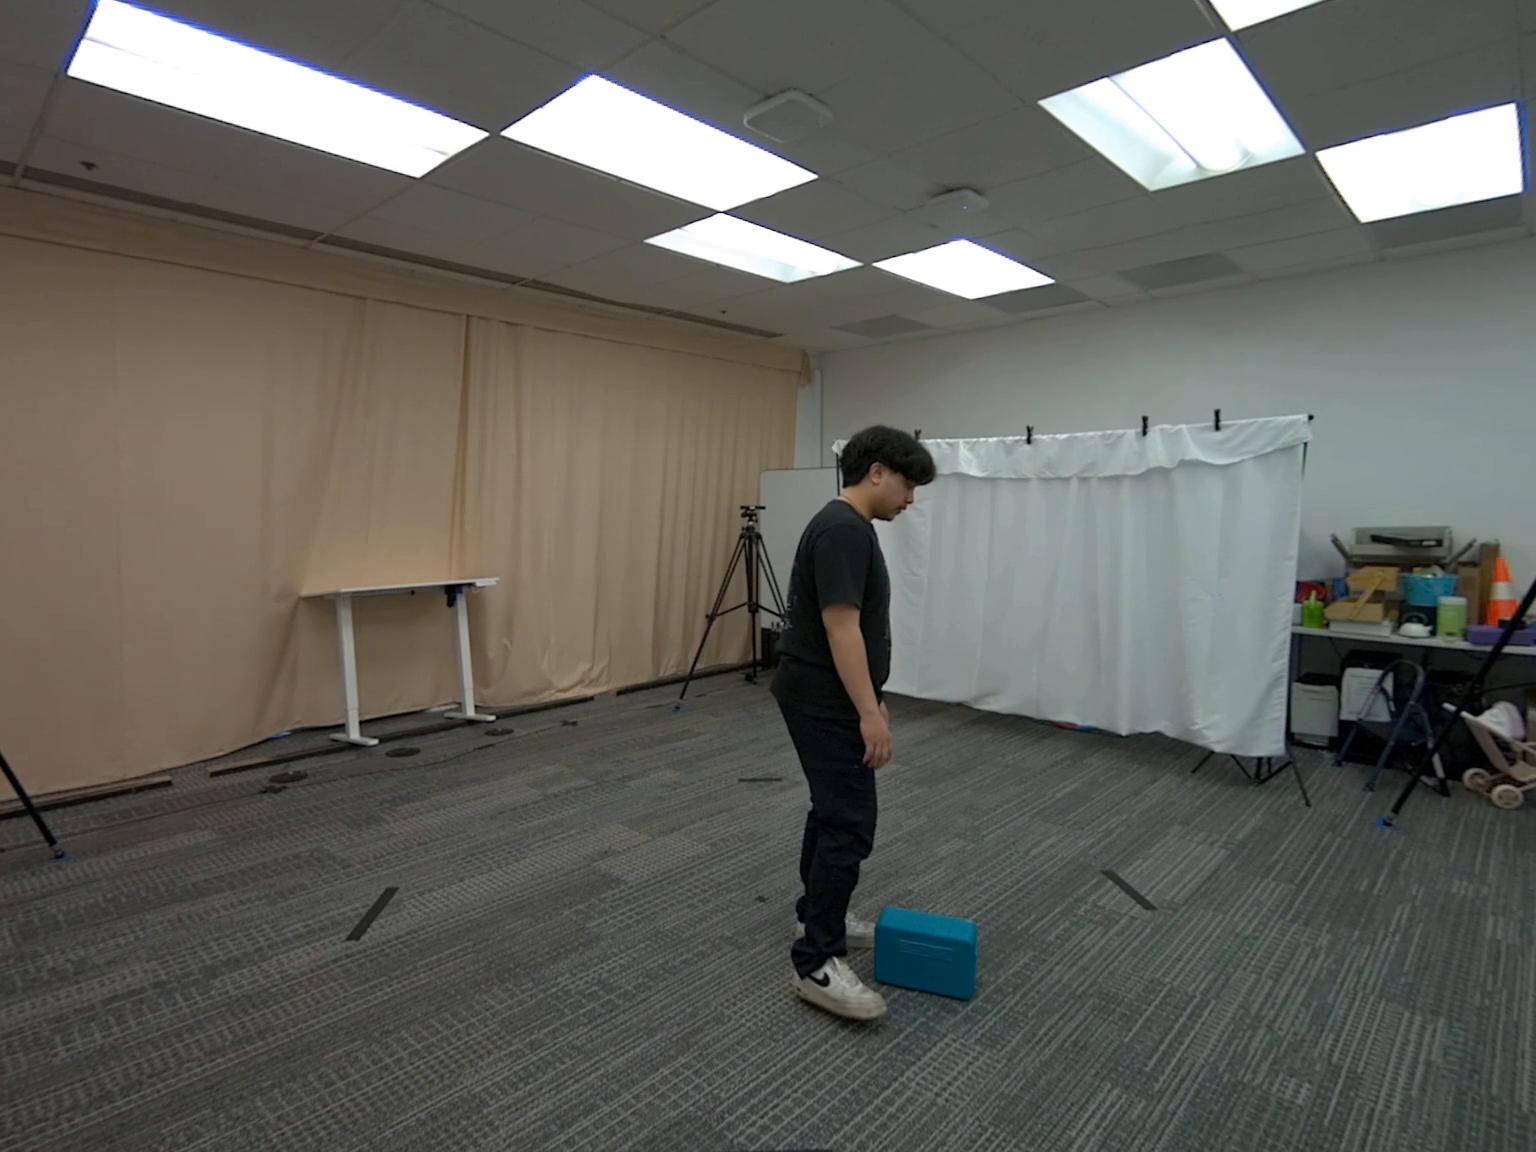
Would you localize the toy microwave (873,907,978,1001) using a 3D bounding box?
[{"bbox_3d":[0.468,1.094,2.459,0.293,0.184,0.149,1,4,22],"label":"toy microwave"}]
